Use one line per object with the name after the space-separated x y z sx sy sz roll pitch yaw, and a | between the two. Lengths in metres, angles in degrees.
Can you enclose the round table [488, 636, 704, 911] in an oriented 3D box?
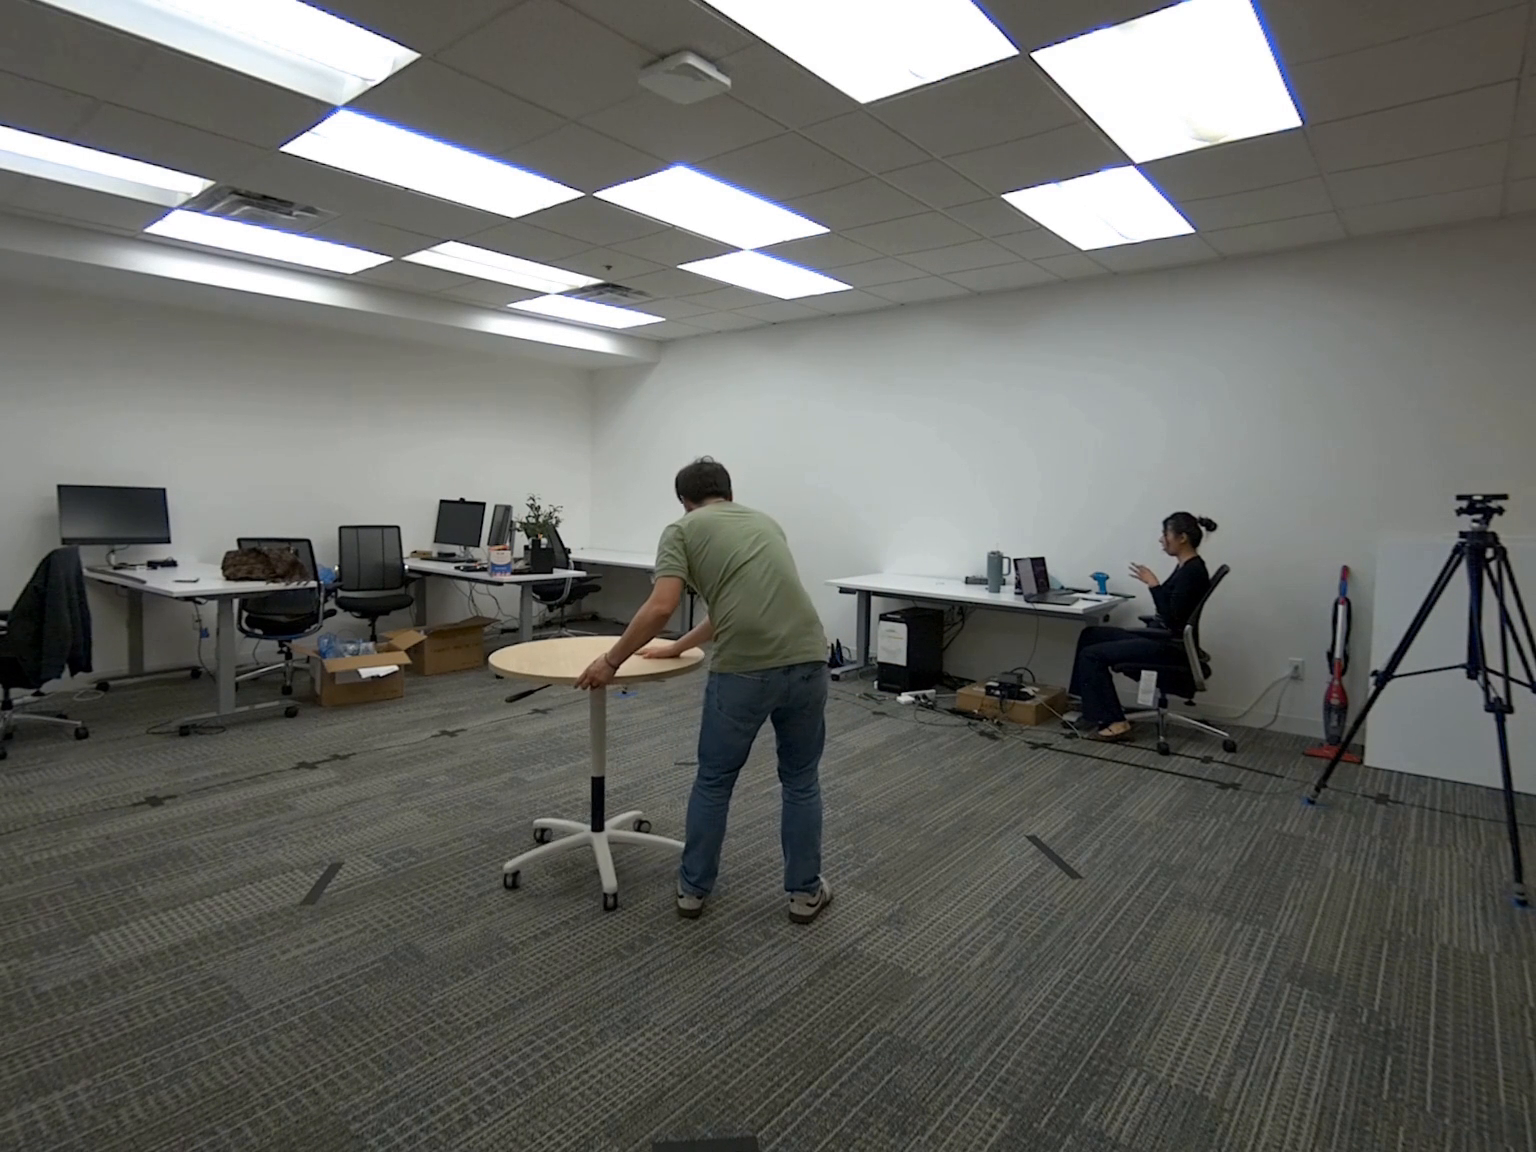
-0.623 0.674 3.077 0.763 0.792 0.767 0 4 -2 | round table
